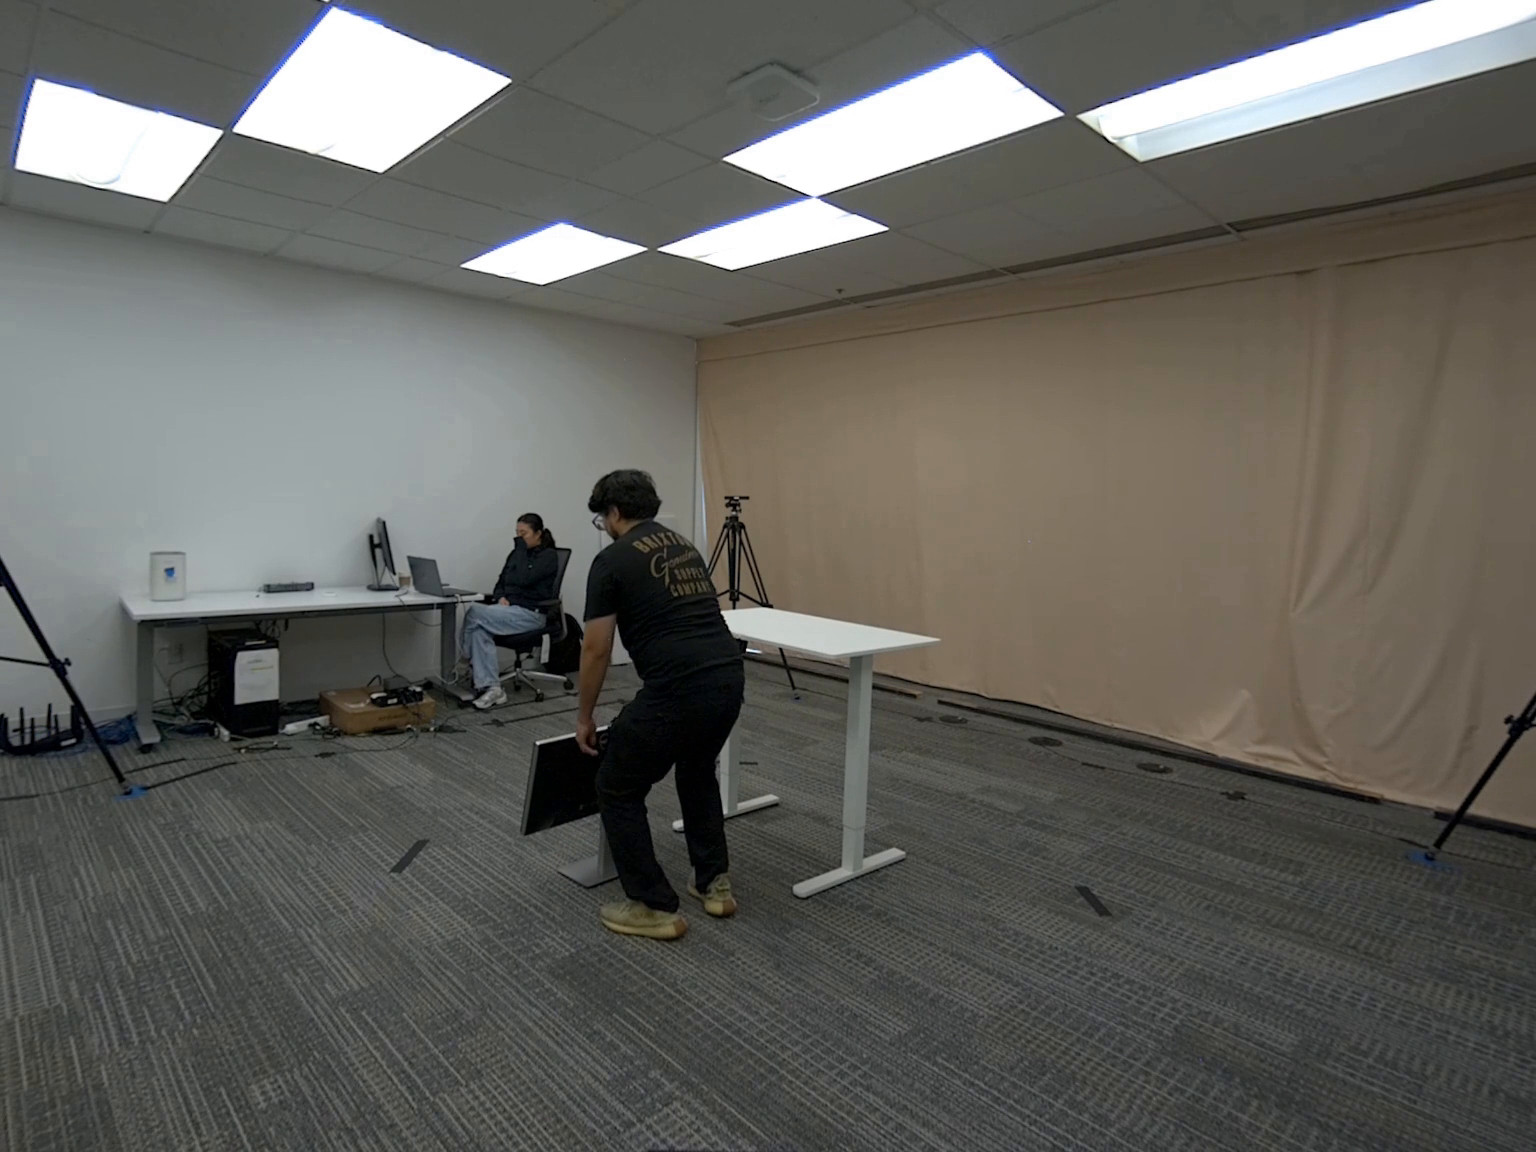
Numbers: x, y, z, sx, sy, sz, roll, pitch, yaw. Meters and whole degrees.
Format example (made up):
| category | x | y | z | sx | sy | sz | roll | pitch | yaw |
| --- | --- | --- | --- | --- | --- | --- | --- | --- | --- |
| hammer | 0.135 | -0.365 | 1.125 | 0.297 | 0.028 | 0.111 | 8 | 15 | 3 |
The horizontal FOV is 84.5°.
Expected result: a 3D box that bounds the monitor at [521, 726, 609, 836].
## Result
| category | x | y | z | sx | sy | sz | roll | pitch | yaw |
| --- | --- | --- | --- | --- | --- | --- | --- | --- | --- |
| monitor | -0.599 | 0.829 | 3.084 | 0.216 | 0.551 | 0.552 | 13 | 11 | 43 |
